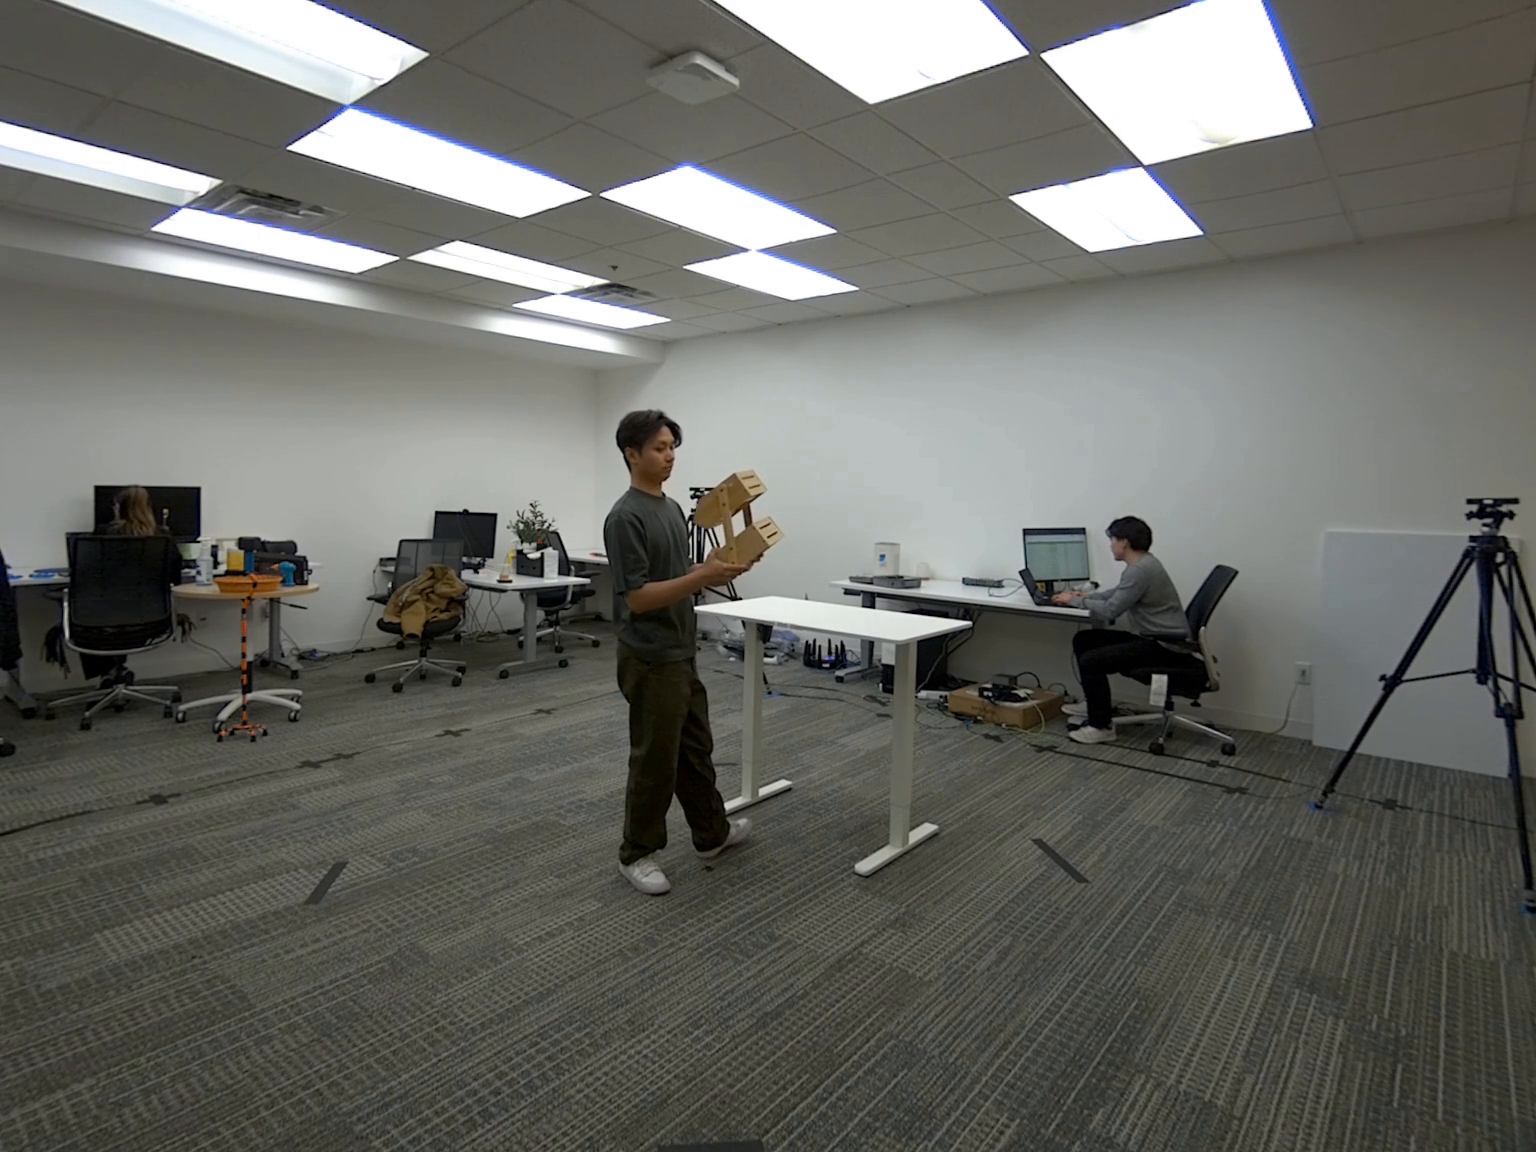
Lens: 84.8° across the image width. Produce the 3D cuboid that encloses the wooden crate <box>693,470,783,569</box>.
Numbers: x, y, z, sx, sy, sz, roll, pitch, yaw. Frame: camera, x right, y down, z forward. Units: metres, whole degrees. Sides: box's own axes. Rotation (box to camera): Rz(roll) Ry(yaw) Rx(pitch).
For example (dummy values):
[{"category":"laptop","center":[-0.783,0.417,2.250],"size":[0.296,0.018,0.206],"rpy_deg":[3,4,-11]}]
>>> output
[{"category":"wooden crate","center":[-0.137,-0.171,2.915],"size":[0.303,0.274,0.322],"rpy_deg":[-36,-1,15]}]
